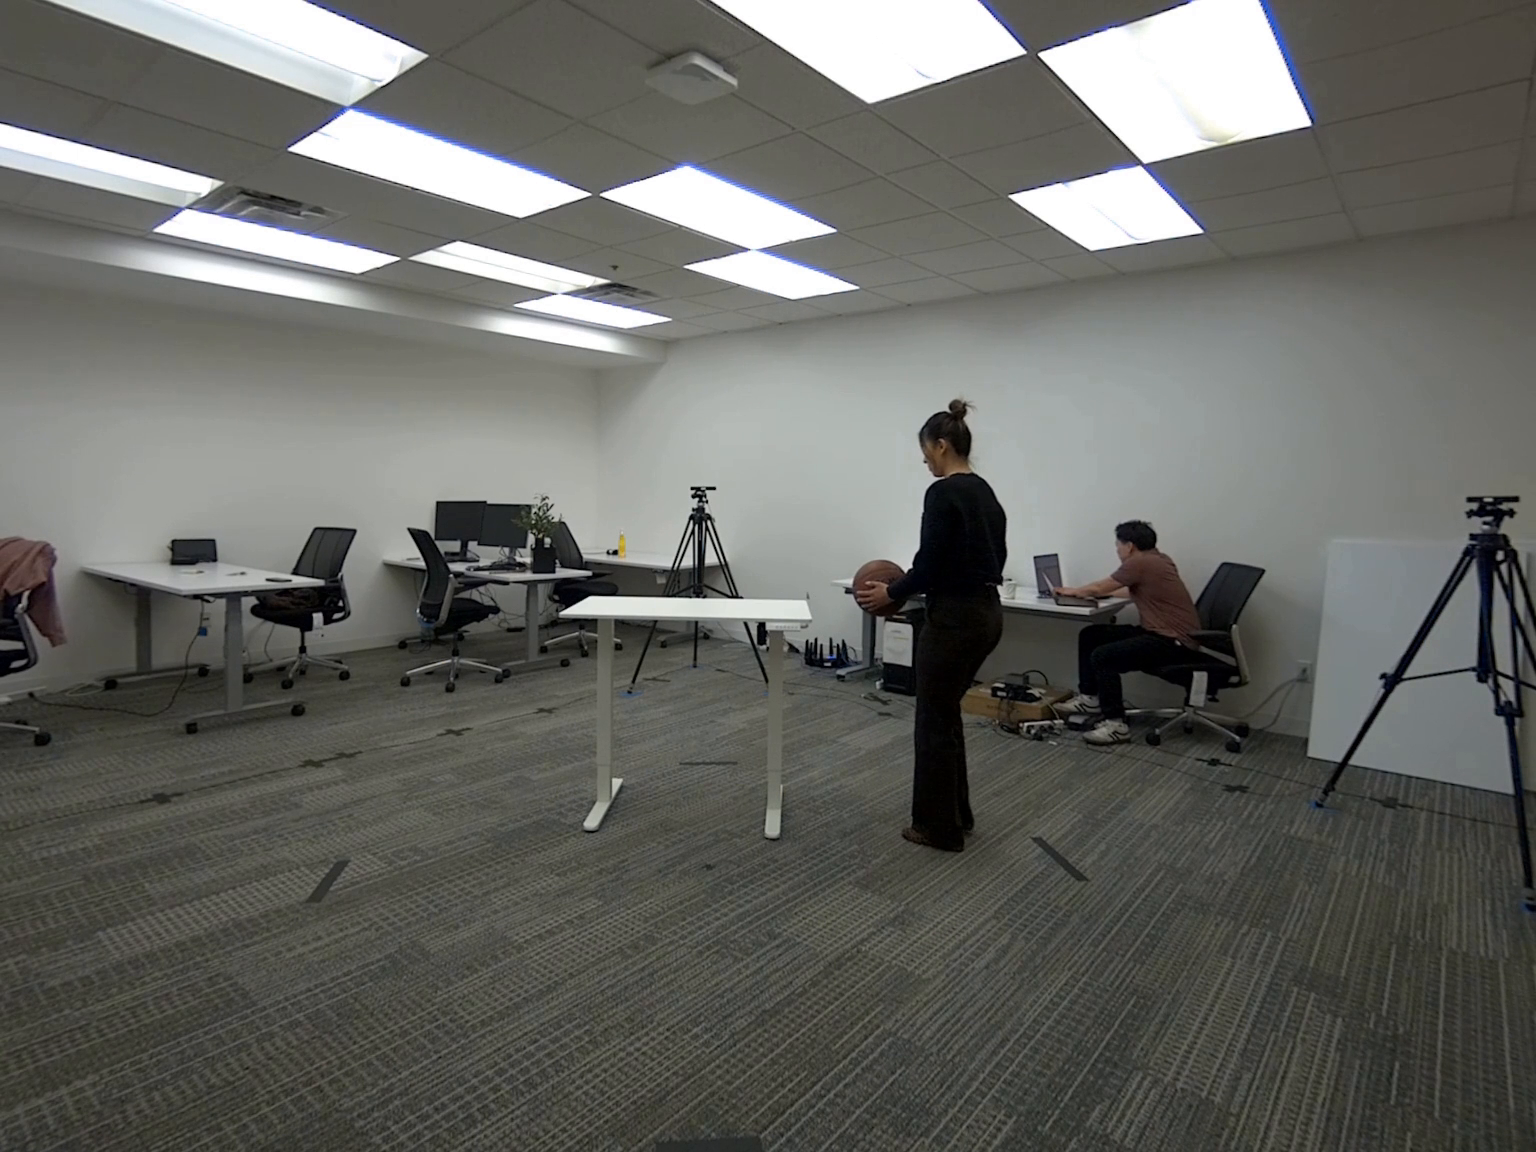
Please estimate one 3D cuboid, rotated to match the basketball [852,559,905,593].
[{"bbox_3d":[0.463,0.050,3.533,0.235,0.235,0.237,1,4,-2],"label":"basketball"}]
